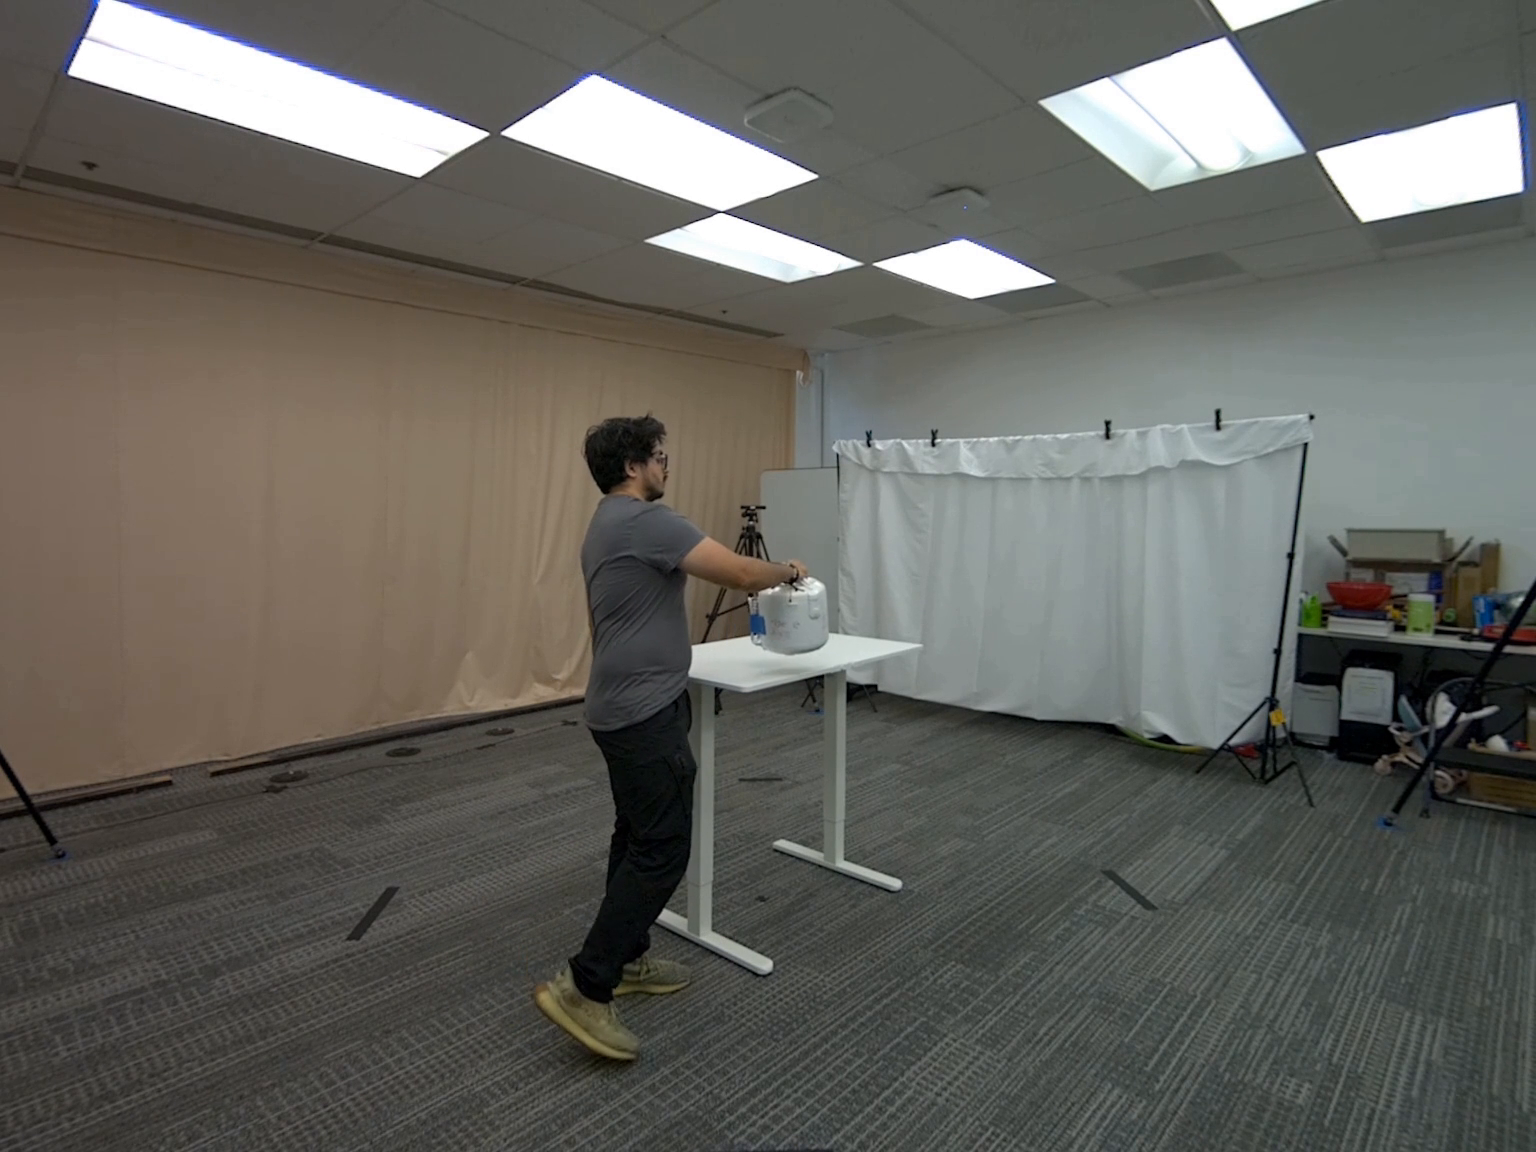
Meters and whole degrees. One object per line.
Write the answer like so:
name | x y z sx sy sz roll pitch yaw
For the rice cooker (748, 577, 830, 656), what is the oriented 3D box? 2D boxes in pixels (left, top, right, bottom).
rice cooker | 0.077 0.109 2.562 0.212 0.231 0.228 -11 13 -33
